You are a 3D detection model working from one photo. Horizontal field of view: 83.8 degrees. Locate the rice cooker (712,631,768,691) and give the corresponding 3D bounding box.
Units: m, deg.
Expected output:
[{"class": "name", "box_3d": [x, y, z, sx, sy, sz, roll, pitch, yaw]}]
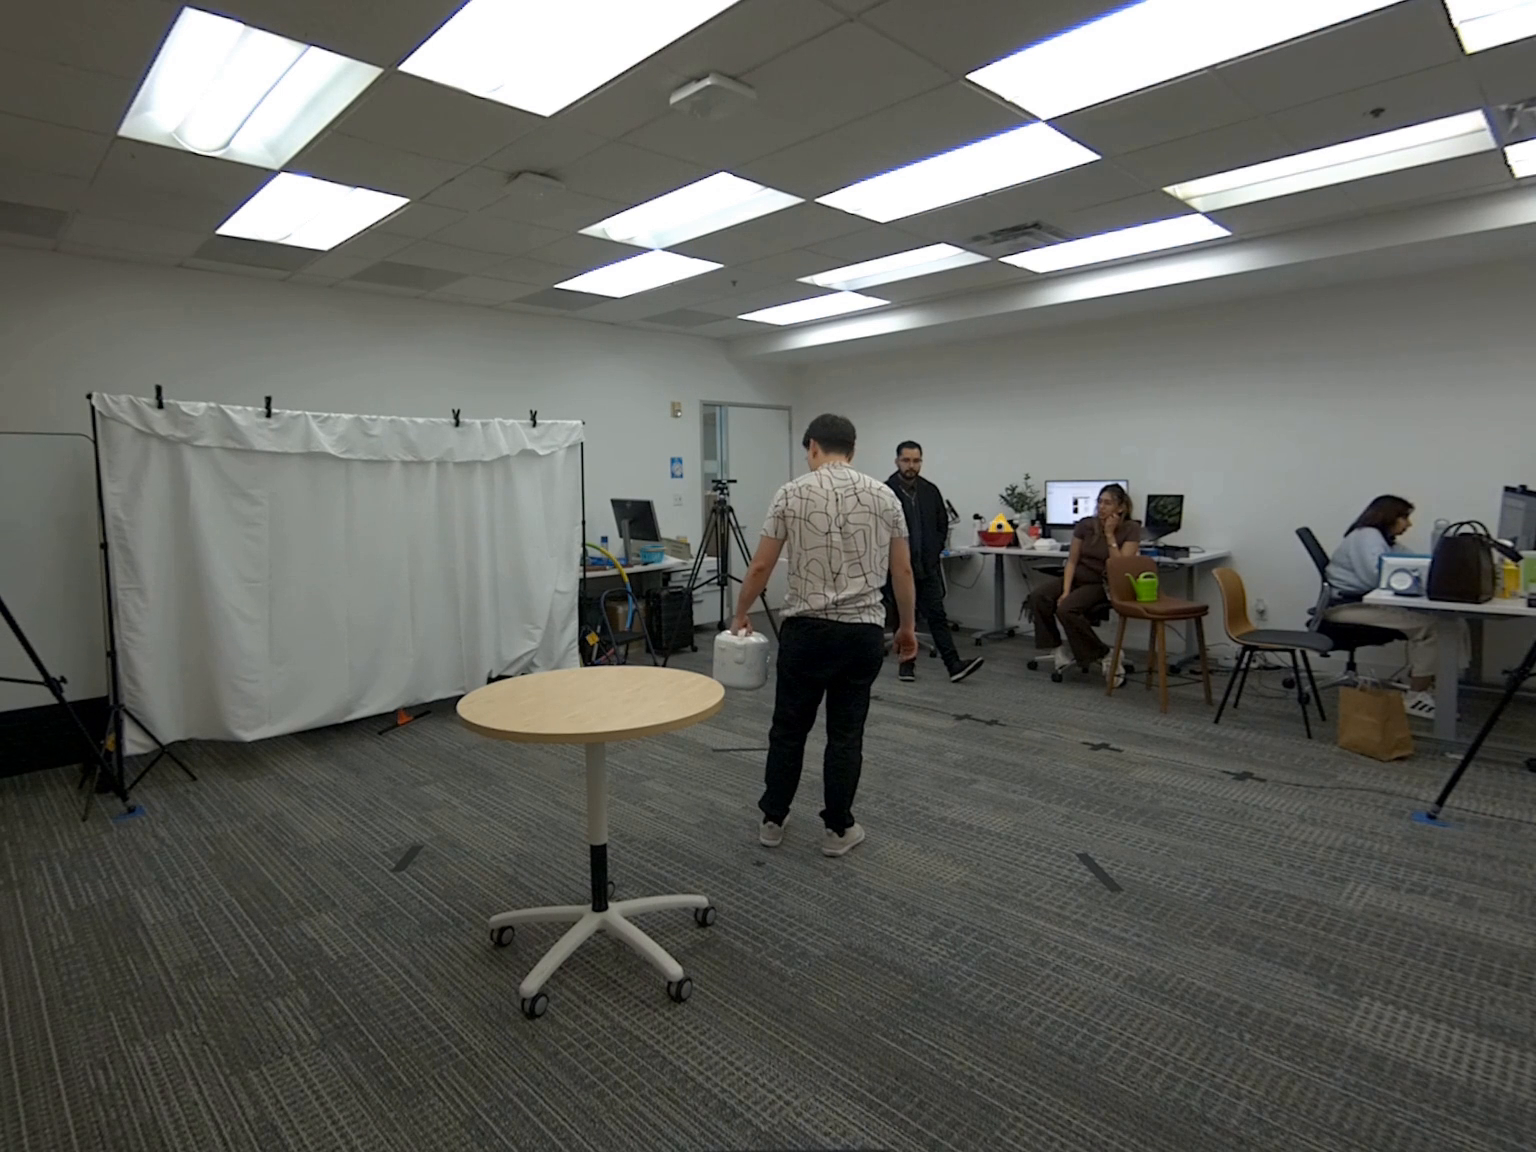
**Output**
[{"class": "rice cooker", "box_3d": [-0.099, 0.311, 3.313, 0.219, 0.232, 0.220, 2, 3, 5]}]
